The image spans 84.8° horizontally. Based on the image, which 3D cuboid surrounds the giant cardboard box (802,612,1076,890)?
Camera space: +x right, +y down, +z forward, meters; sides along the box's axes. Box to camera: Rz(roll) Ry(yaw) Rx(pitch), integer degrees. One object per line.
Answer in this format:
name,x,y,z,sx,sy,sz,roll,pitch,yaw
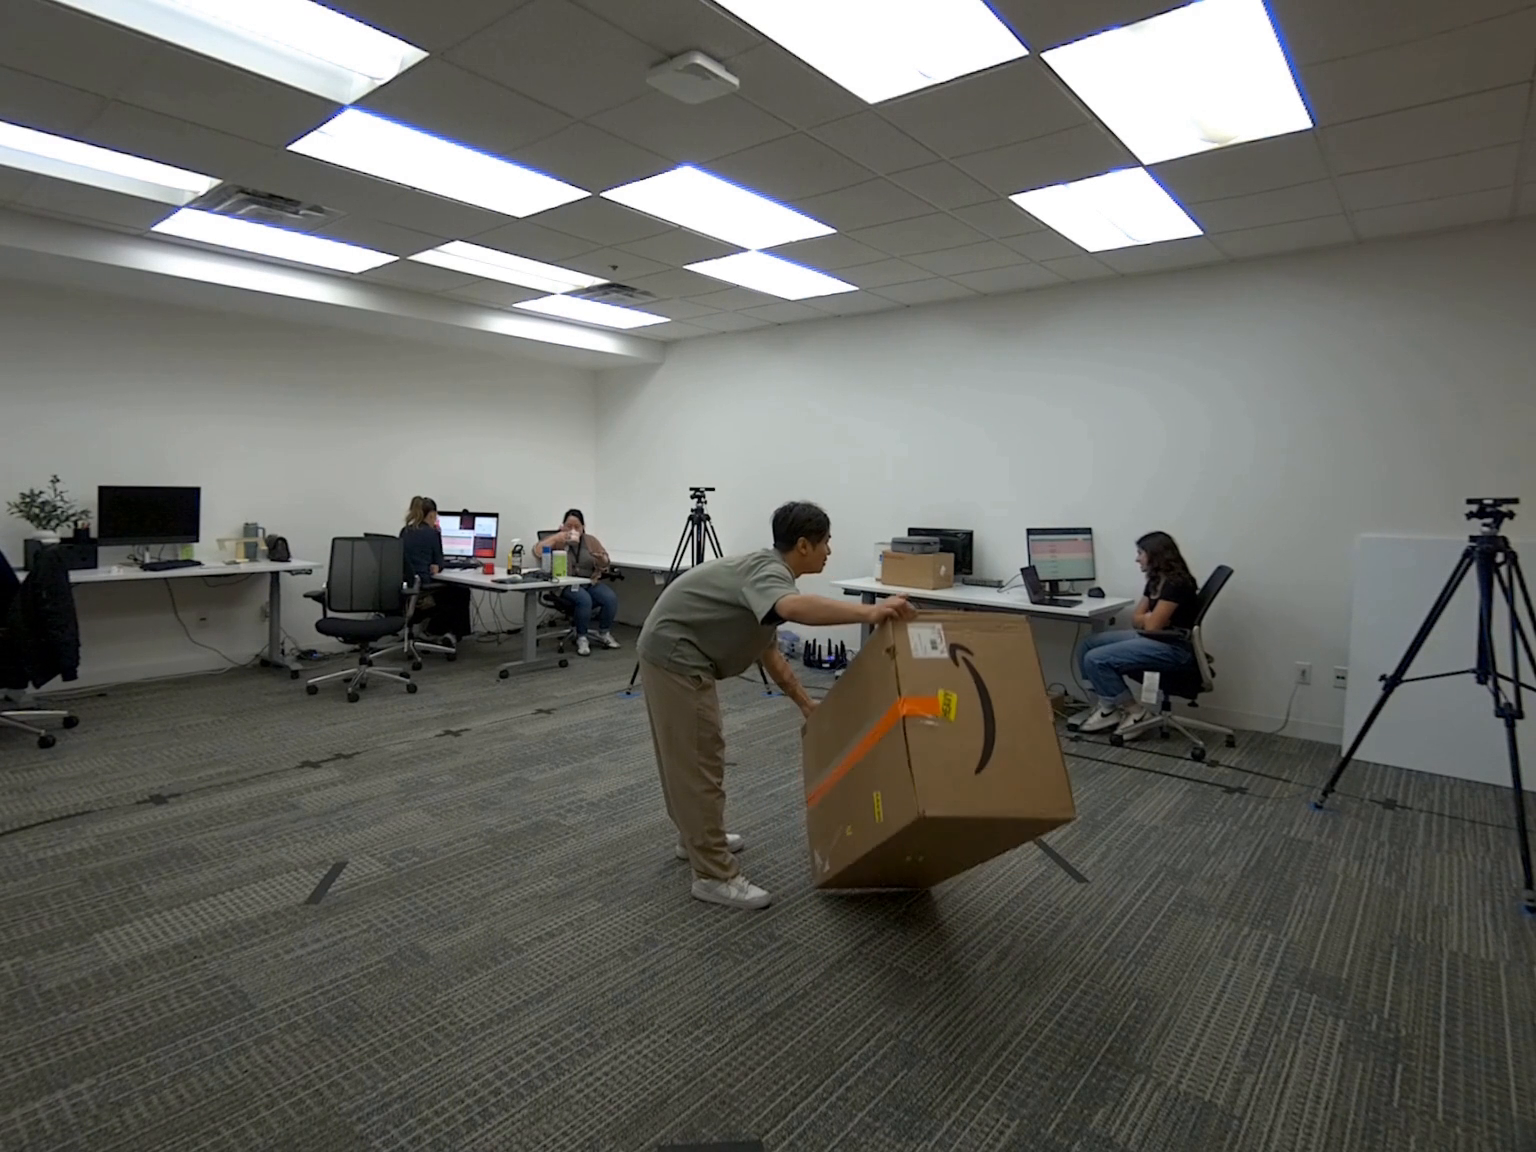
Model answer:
giant cardboard box,0.438,0.600,2.692,0.421,0.593,1.011,3,-30,-12
